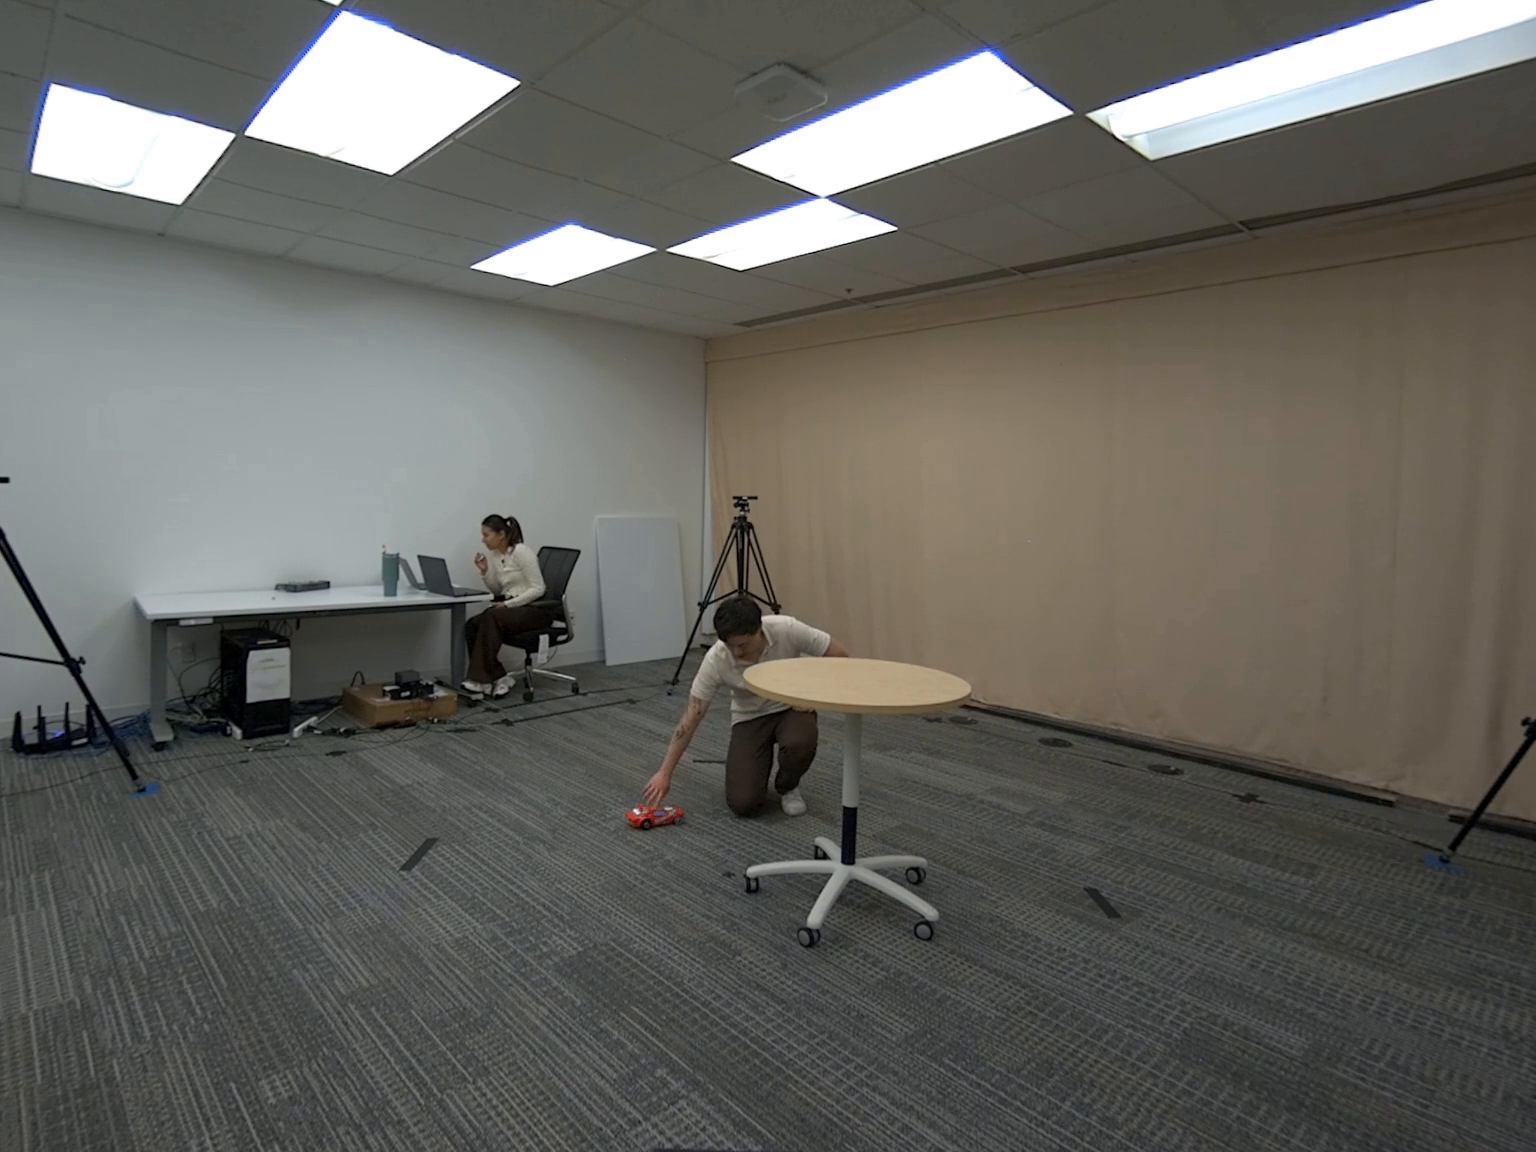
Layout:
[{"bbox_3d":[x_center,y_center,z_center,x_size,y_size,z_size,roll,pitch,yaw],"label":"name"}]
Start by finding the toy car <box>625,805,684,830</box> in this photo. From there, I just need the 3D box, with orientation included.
[{"bbox_3d":[-0.505,1.022,3.576,0.249,0.083,0.133,11,-1,-27],"label":"toy car"}]
